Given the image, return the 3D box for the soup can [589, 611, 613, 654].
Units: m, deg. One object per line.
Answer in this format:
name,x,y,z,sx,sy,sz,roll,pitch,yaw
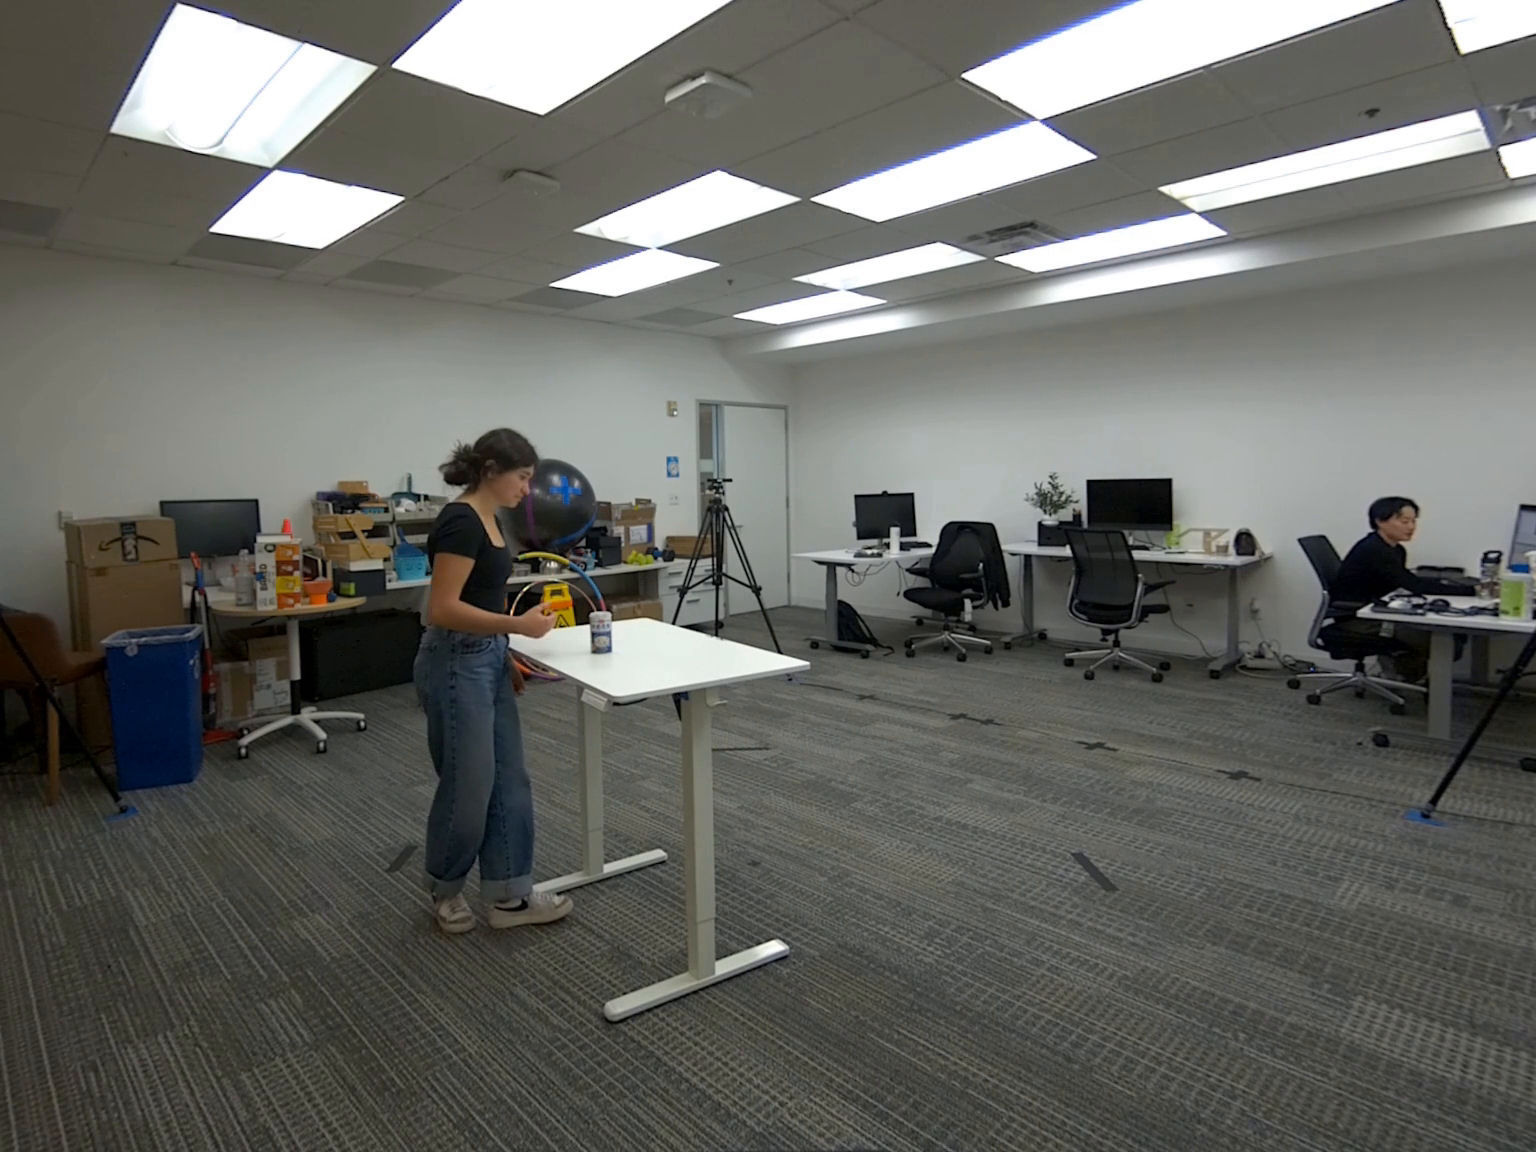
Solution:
soup can,-0.505,0.172,2.588,0.067,0.121,0.067,0,4,-2
